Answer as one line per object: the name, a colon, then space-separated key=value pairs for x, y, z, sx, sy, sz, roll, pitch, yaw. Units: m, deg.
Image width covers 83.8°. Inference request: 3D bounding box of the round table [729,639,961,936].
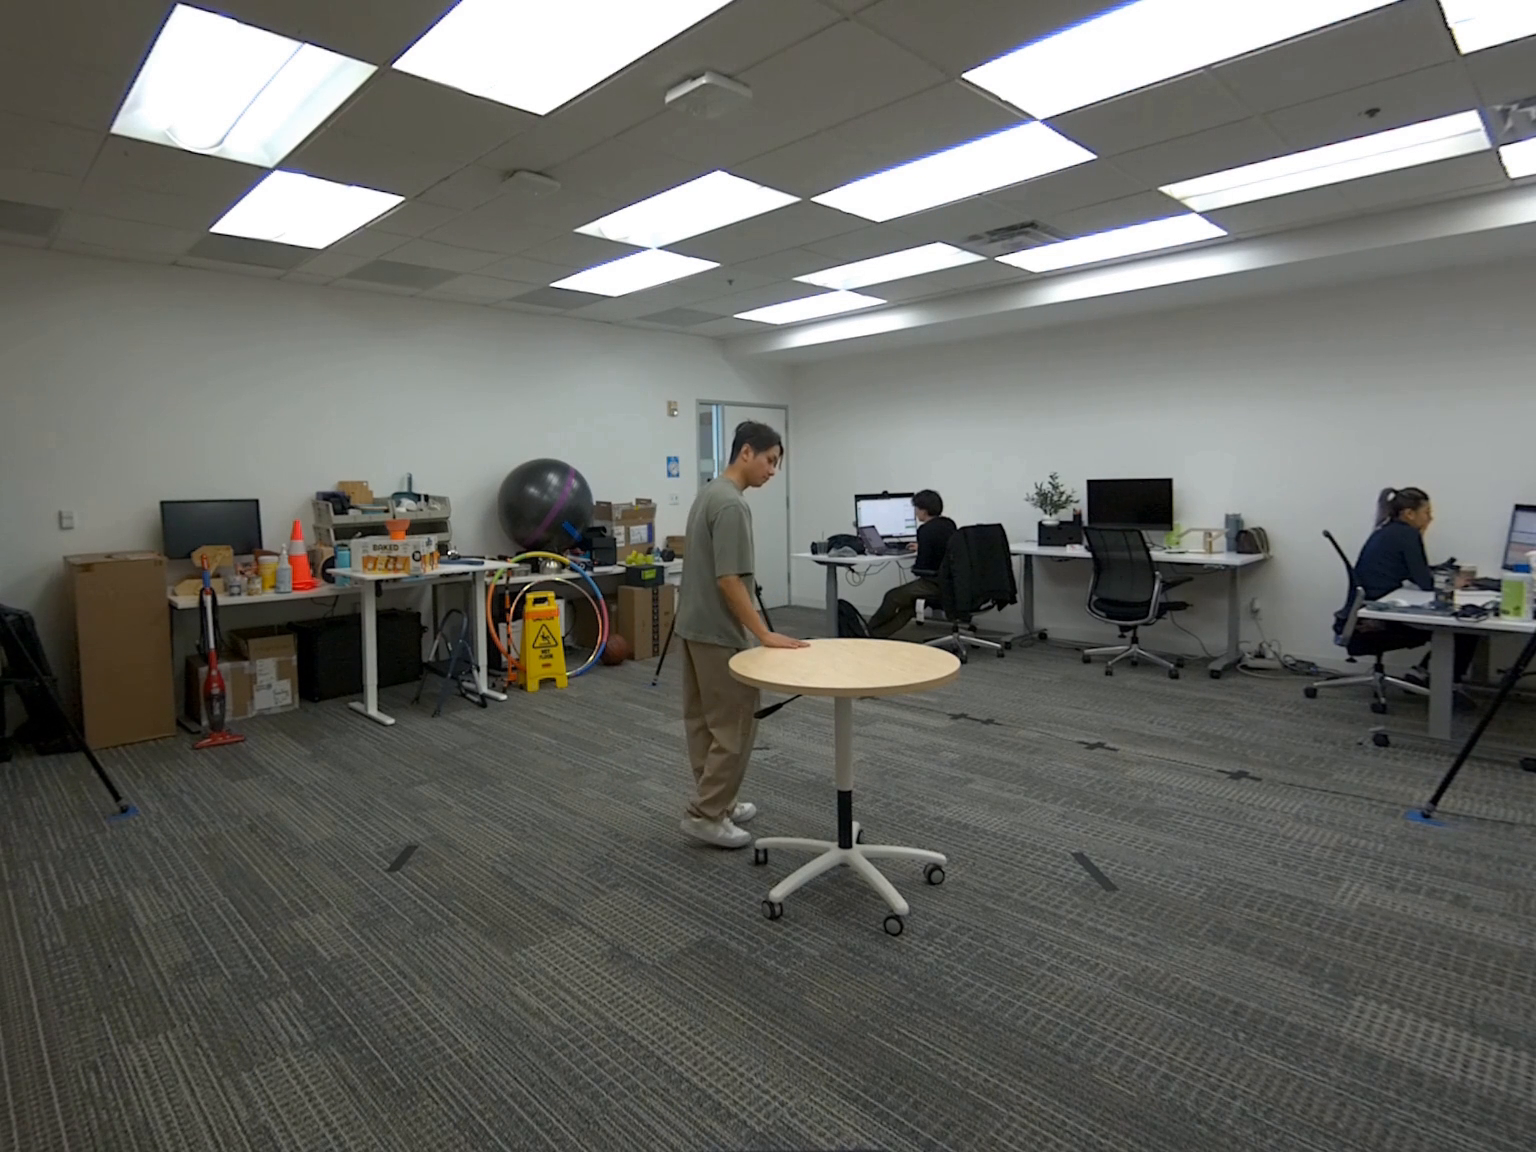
round table: x=0.269 y=0.676 z=2.891 sx=0.763 sy=0.791 sz=0.768 roll=-1 pitch=5 yaw=-2
